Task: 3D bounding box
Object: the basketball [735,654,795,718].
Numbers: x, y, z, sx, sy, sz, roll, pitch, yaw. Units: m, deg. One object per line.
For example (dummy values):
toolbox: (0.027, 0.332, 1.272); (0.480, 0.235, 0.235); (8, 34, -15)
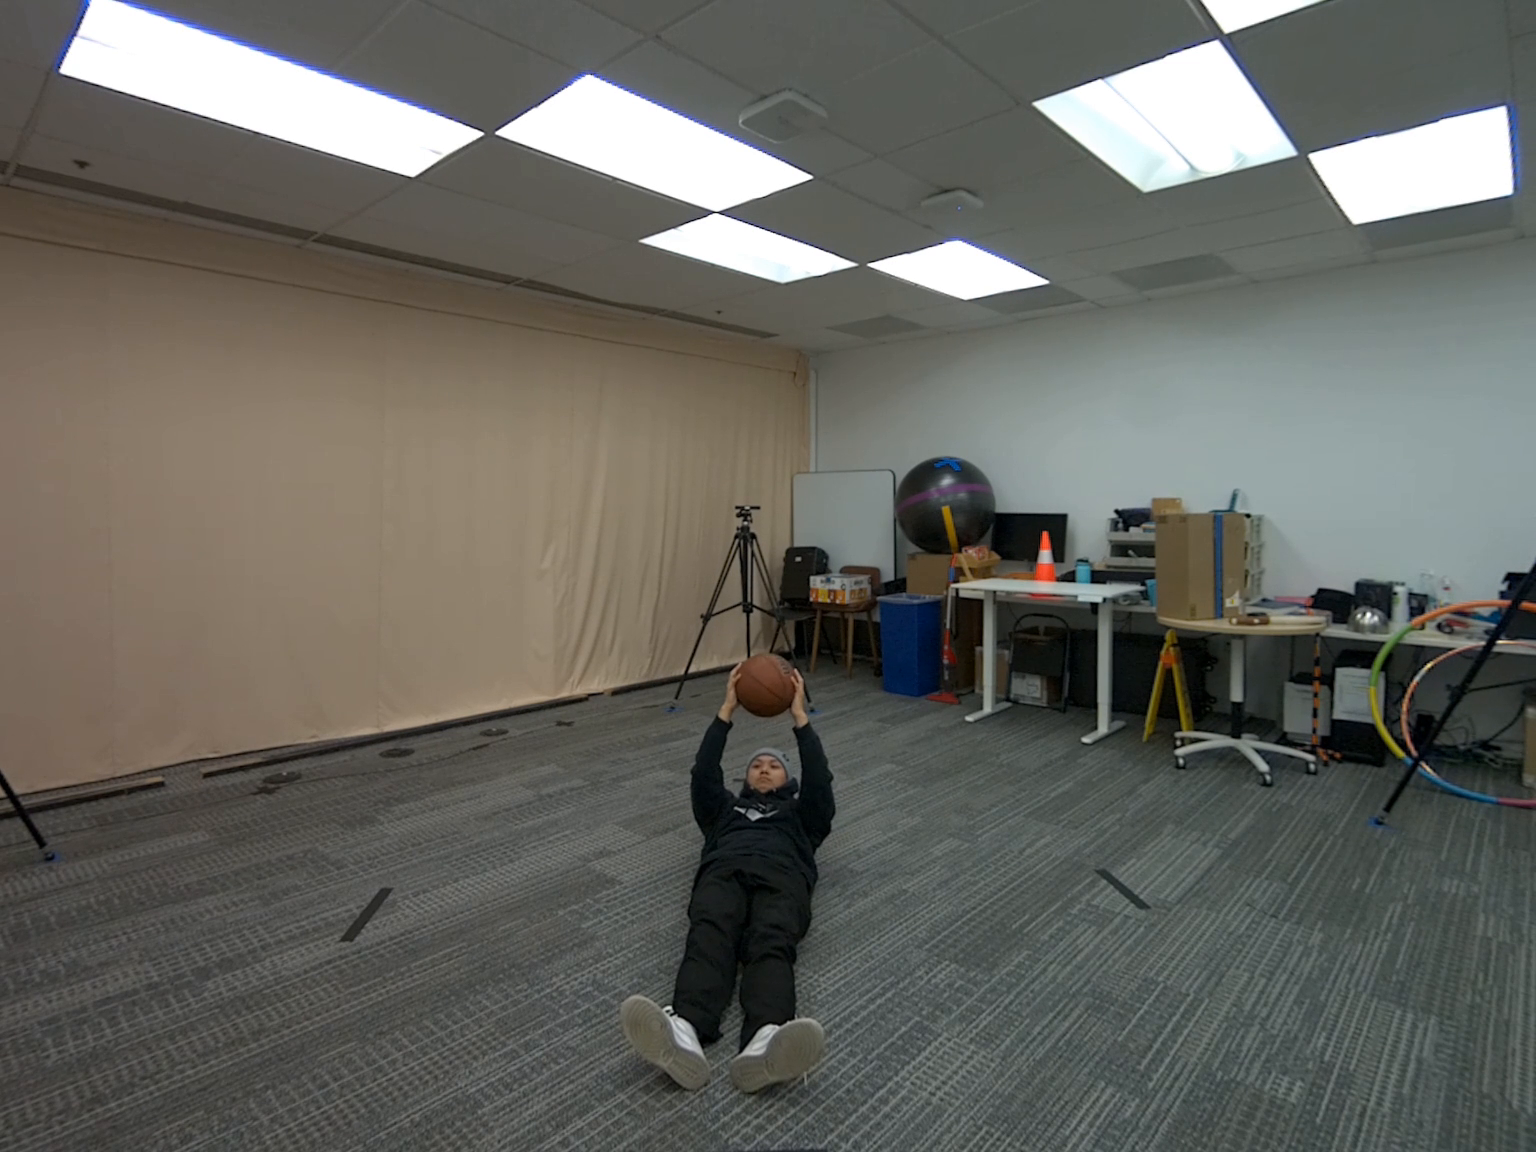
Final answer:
basketball: (-0.004, 0.413, 3.155); (0.236, 0.235, 0.237); (0, 4, -2)
